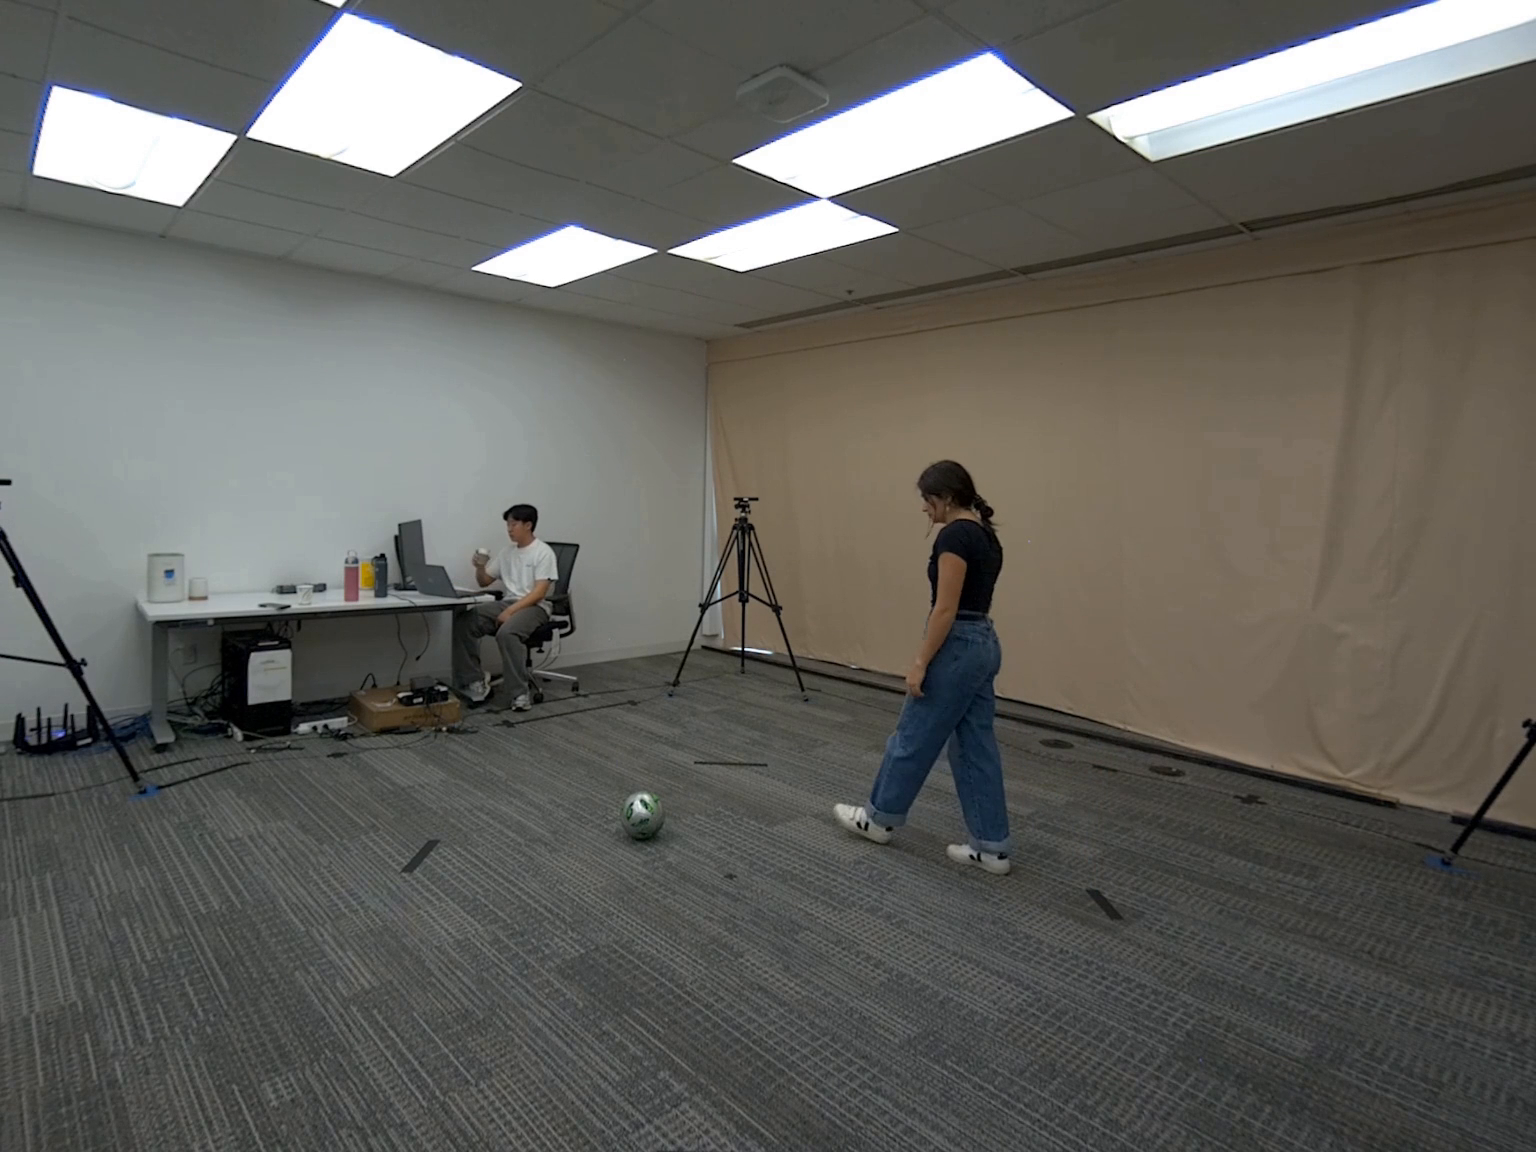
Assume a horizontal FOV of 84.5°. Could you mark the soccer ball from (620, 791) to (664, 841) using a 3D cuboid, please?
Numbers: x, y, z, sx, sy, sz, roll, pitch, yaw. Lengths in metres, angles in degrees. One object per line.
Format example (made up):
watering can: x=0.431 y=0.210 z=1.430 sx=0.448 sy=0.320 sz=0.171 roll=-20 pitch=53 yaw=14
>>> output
soccer ball: x=-0.518 y=0.973 z=3.432 sx=0.187 sy=0.187 sz=0.188 roll=1 pitch=4 yaw=-1
